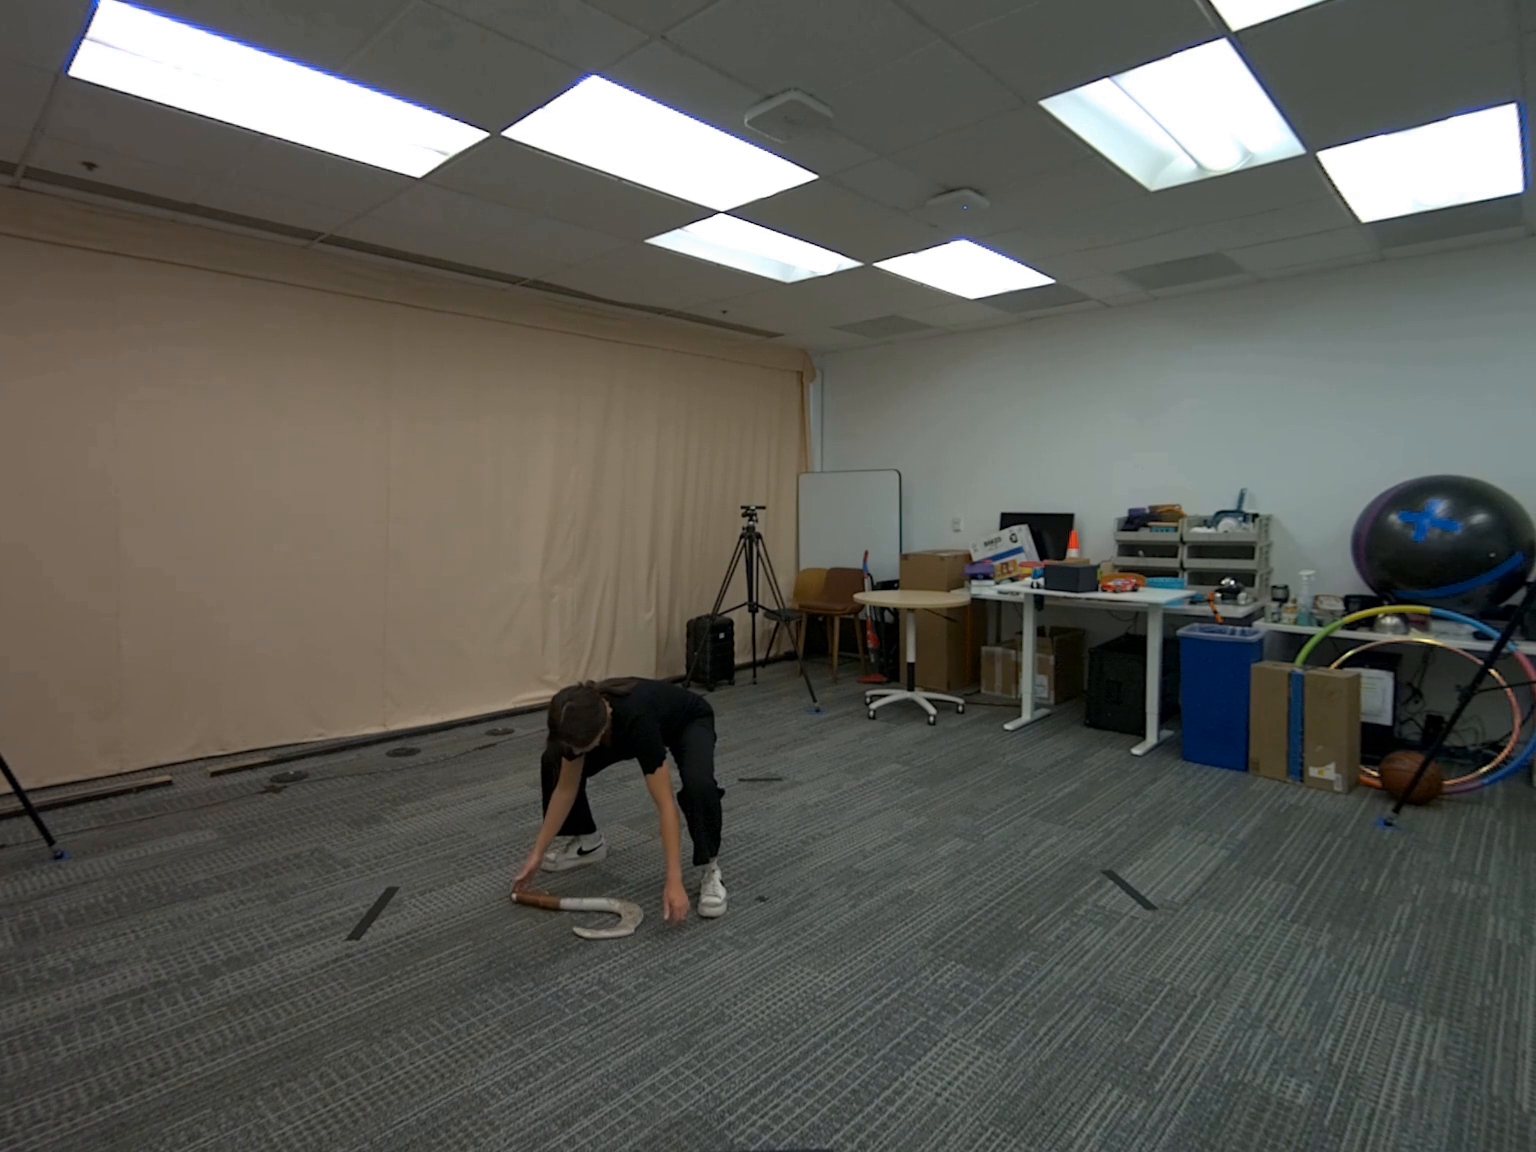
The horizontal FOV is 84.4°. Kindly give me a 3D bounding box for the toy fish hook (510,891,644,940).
[{"bbox_3d":[-0.667,1.135,2.850,0.516,0.048,0.221,1,3,17],"label":"toy fish hook"}]
